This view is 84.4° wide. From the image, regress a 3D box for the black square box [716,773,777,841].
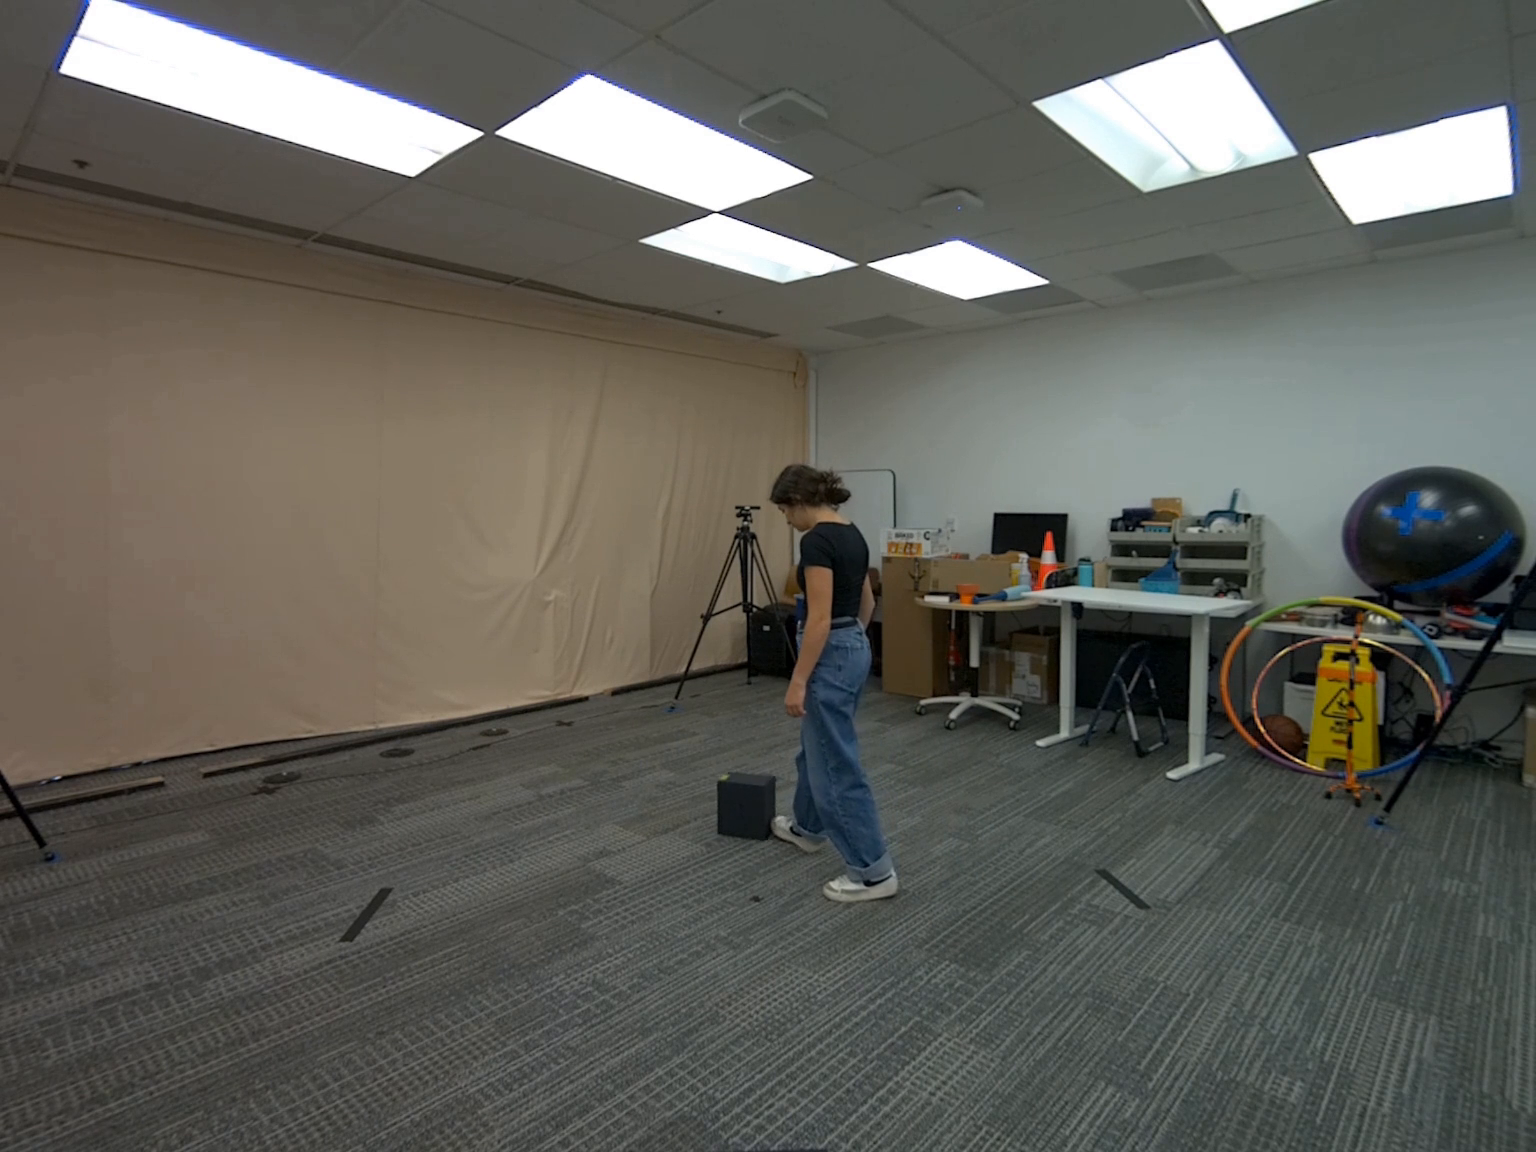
[{"bbox_3d":[-0.085,0.972,3.595,0.222,0.227,0.153,0,2,20],"label":"black square box"}]
